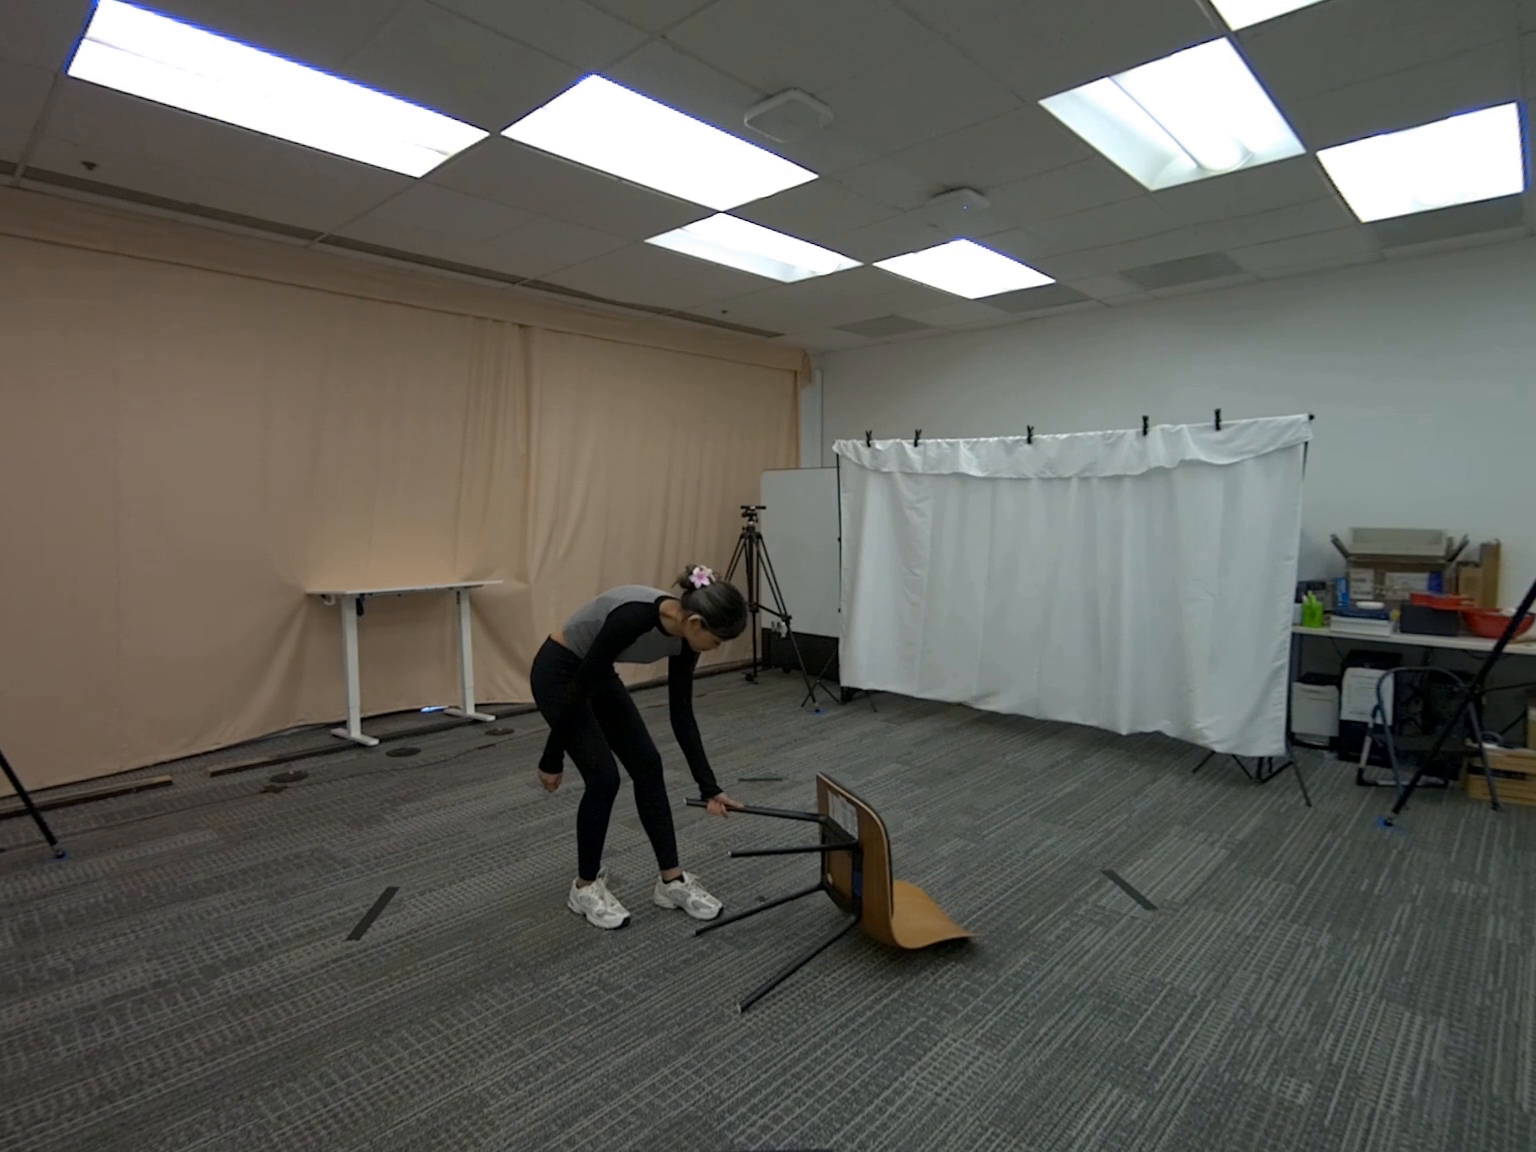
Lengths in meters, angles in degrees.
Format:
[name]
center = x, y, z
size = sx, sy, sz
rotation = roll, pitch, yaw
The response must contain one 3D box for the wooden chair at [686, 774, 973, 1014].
[wooden chair]
center = 0.229, 0.908, 2.633
size = 0.861, 0.522, 0.488
rotation = 0, 3, -18
